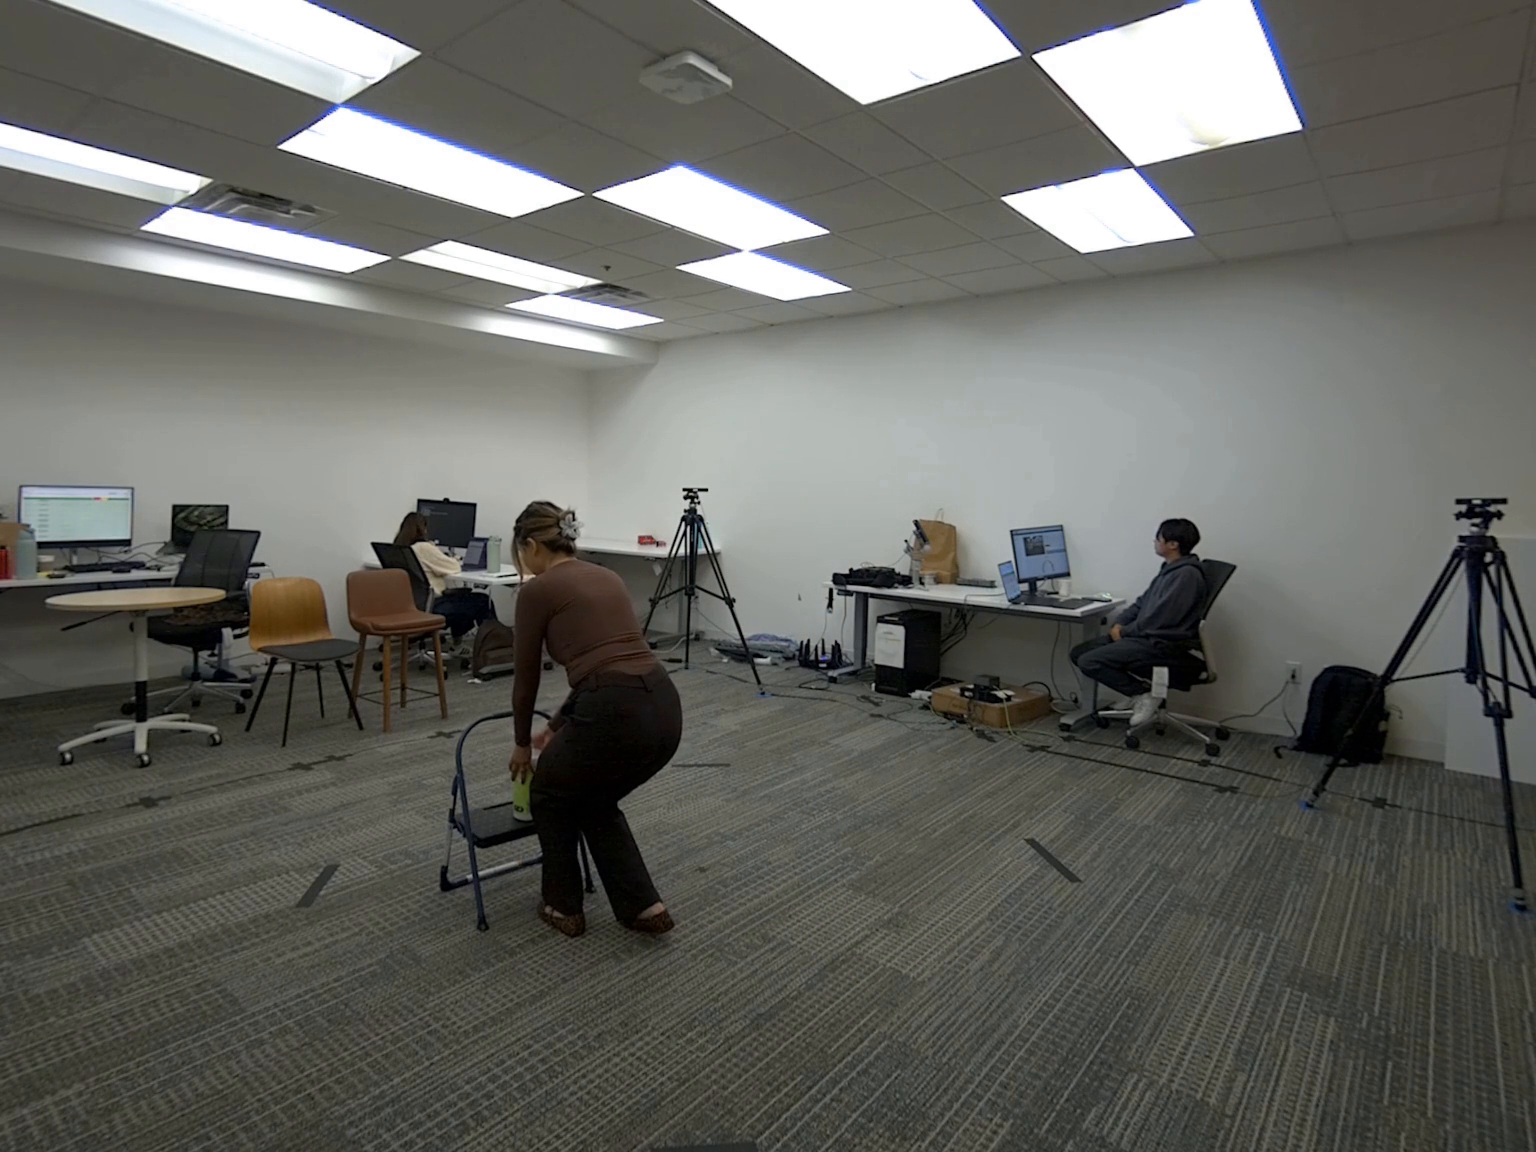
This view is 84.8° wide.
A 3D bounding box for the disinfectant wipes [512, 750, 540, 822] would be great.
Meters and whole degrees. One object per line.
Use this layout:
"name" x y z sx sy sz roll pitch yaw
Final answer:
"disinfectant wipes" -0.826 0.711 2.900 0.118 0.216 0.118 -1 4 -2
